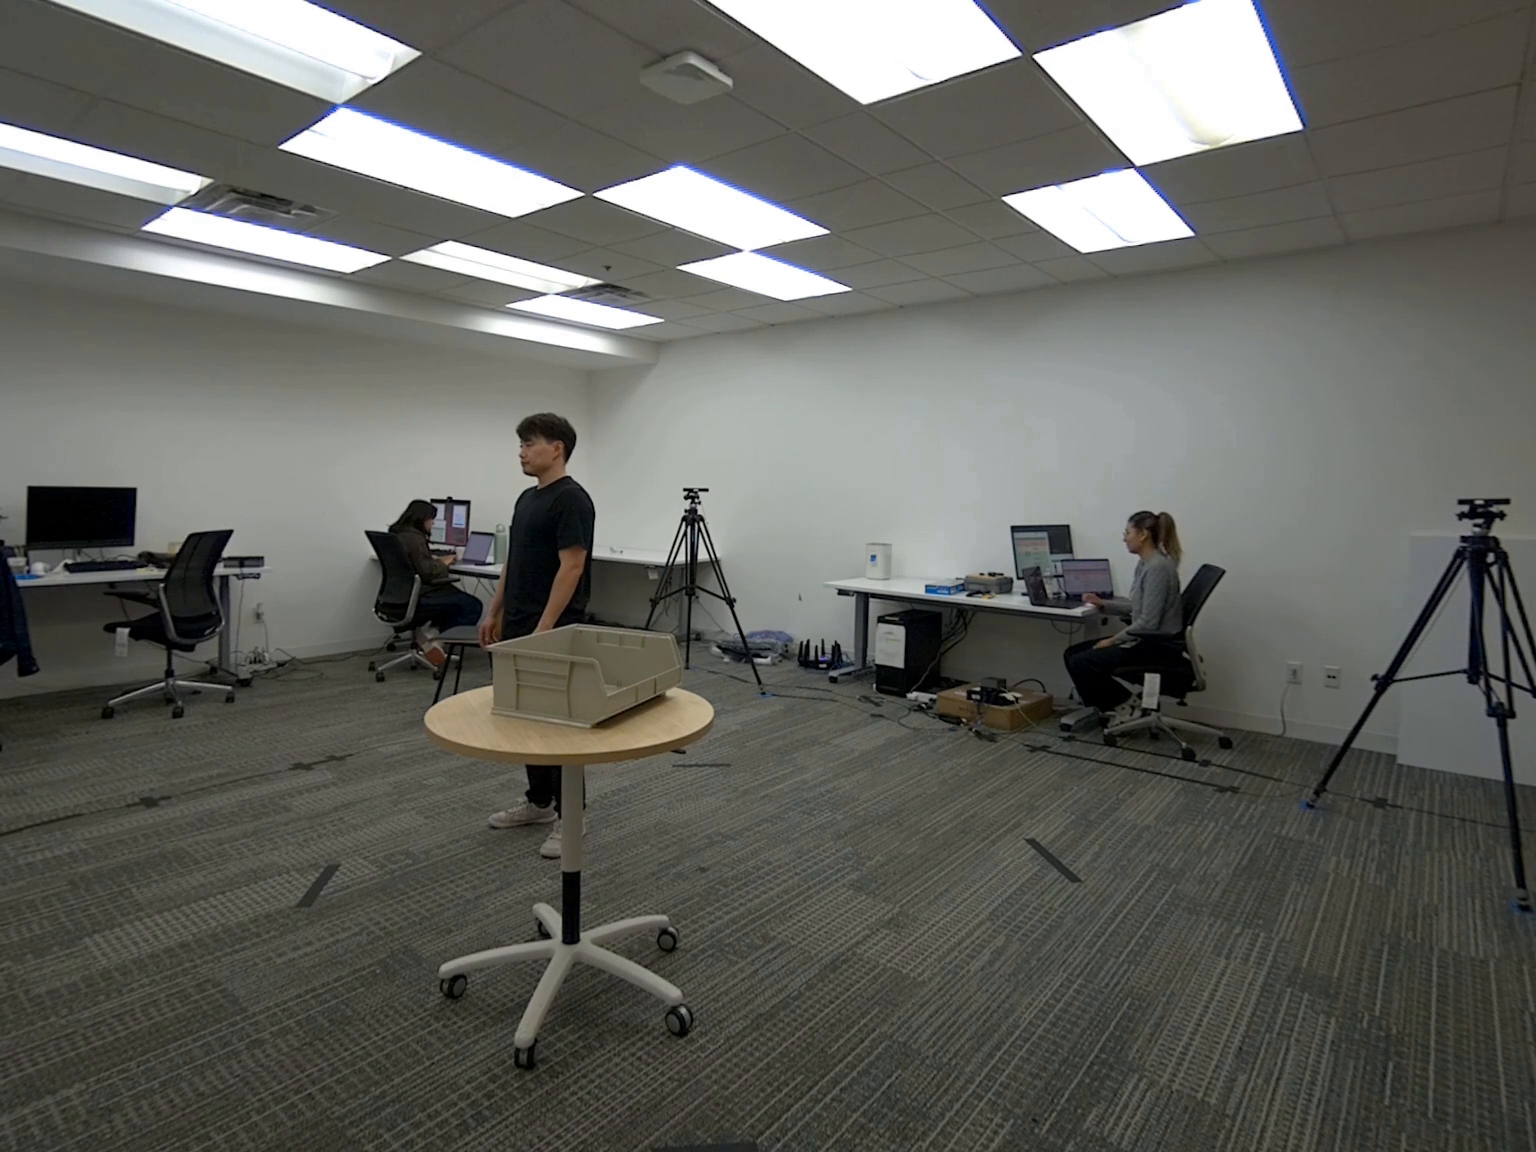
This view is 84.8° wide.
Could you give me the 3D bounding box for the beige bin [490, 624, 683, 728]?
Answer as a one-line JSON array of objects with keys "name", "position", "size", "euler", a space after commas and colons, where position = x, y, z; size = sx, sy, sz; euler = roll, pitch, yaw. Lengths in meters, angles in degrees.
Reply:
[{"name": "beige bin", "position": [-0.505, 0.266, 2.357], "size": [0.386, 0.188, 0.414], "euler": [2, 6, 23]}]
